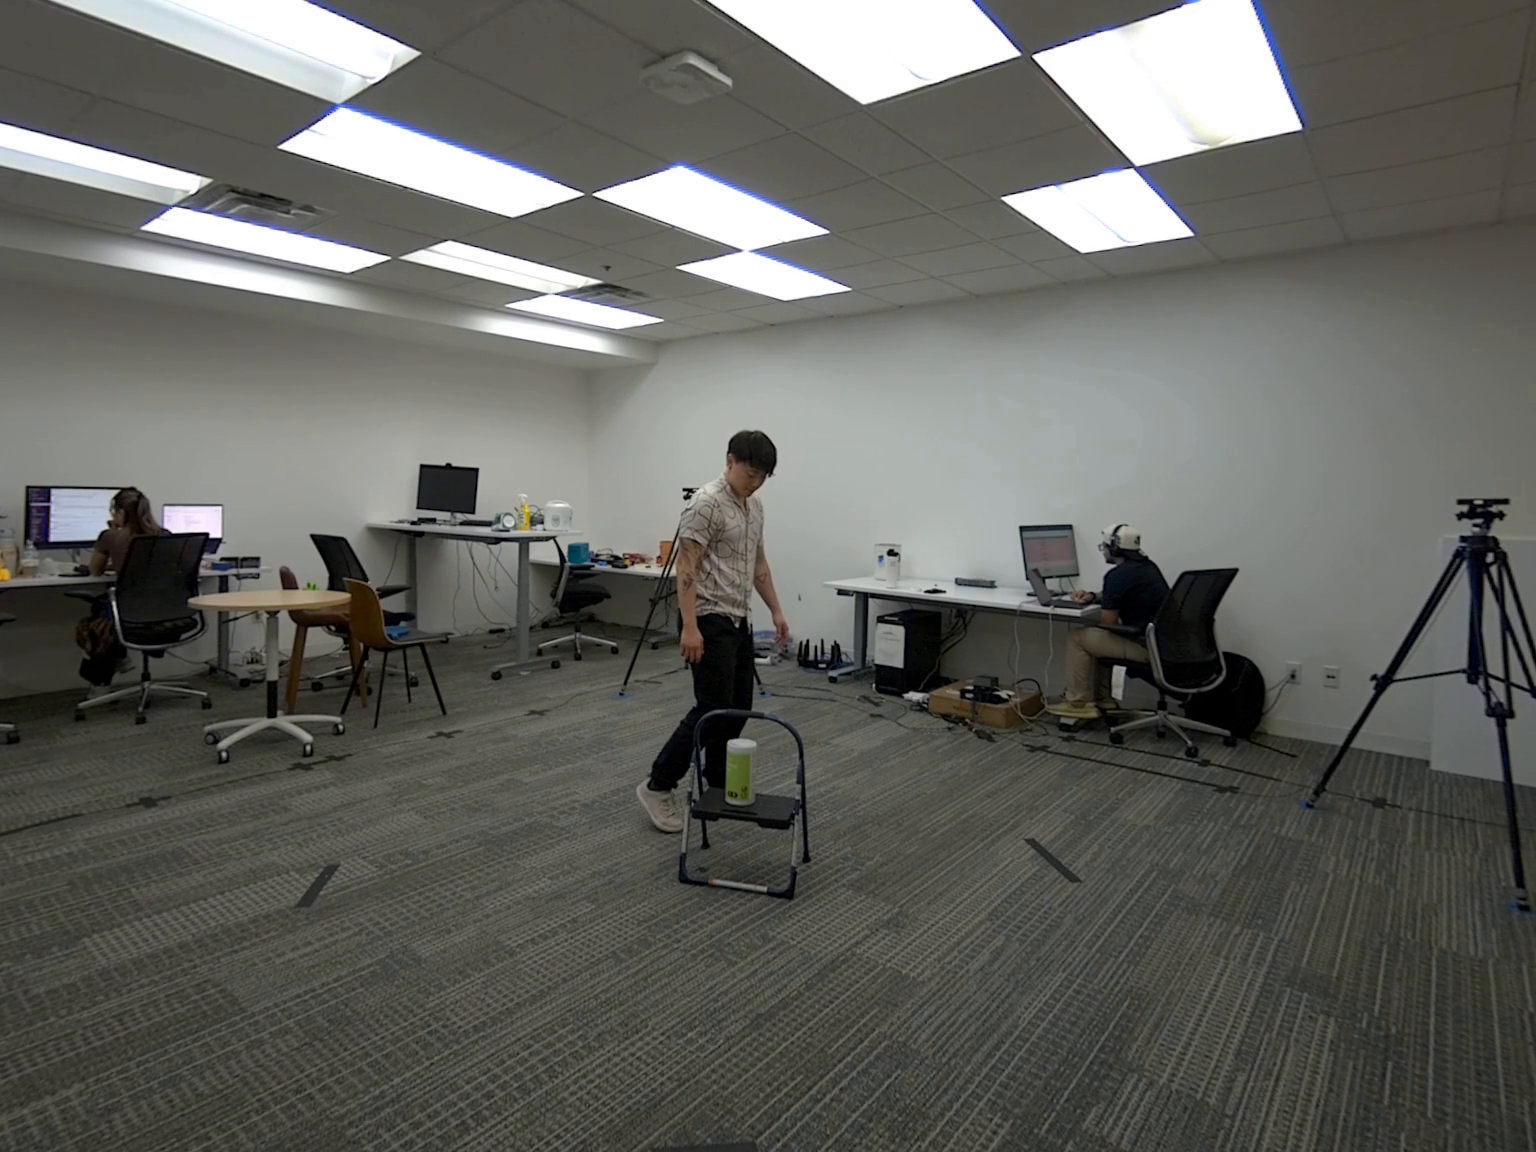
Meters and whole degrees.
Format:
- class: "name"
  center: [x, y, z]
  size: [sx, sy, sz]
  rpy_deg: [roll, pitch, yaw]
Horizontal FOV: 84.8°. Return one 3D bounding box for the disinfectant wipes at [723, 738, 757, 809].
- class: "disinfectant wipes"
  center: [-0.103, 0.714, 3.077]
  size: [0.117, 0.217, 0.118]
  rpy_deg: [5, 3, -2]
